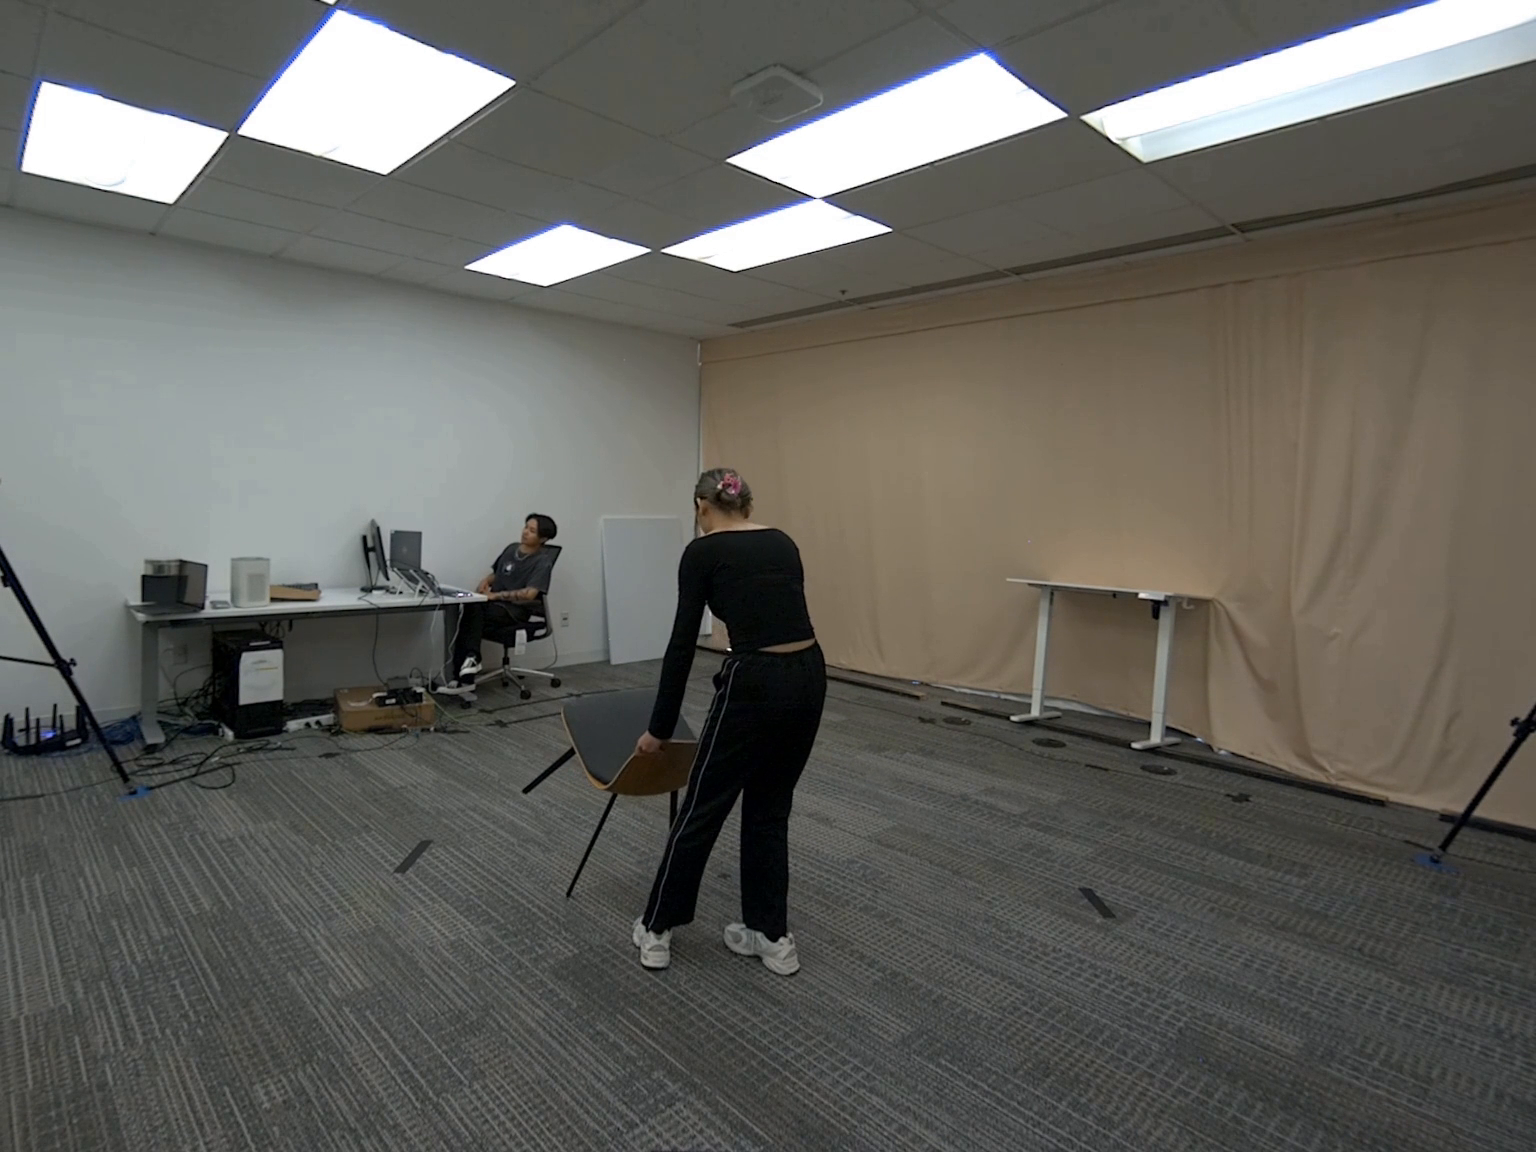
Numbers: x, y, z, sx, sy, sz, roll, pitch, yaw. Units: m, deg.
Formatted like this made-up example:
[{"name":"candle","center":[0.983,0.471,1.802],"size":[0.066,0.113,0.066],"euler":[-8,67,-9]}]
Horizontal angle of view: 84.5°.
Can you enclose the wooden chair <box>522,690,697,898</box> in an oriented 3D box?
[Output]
[{"name":"wooden chair","center":[-0.476,0.625,2.963],"size":[0.467,0.872,0.538],"euler":[-2,46,-39]}]
